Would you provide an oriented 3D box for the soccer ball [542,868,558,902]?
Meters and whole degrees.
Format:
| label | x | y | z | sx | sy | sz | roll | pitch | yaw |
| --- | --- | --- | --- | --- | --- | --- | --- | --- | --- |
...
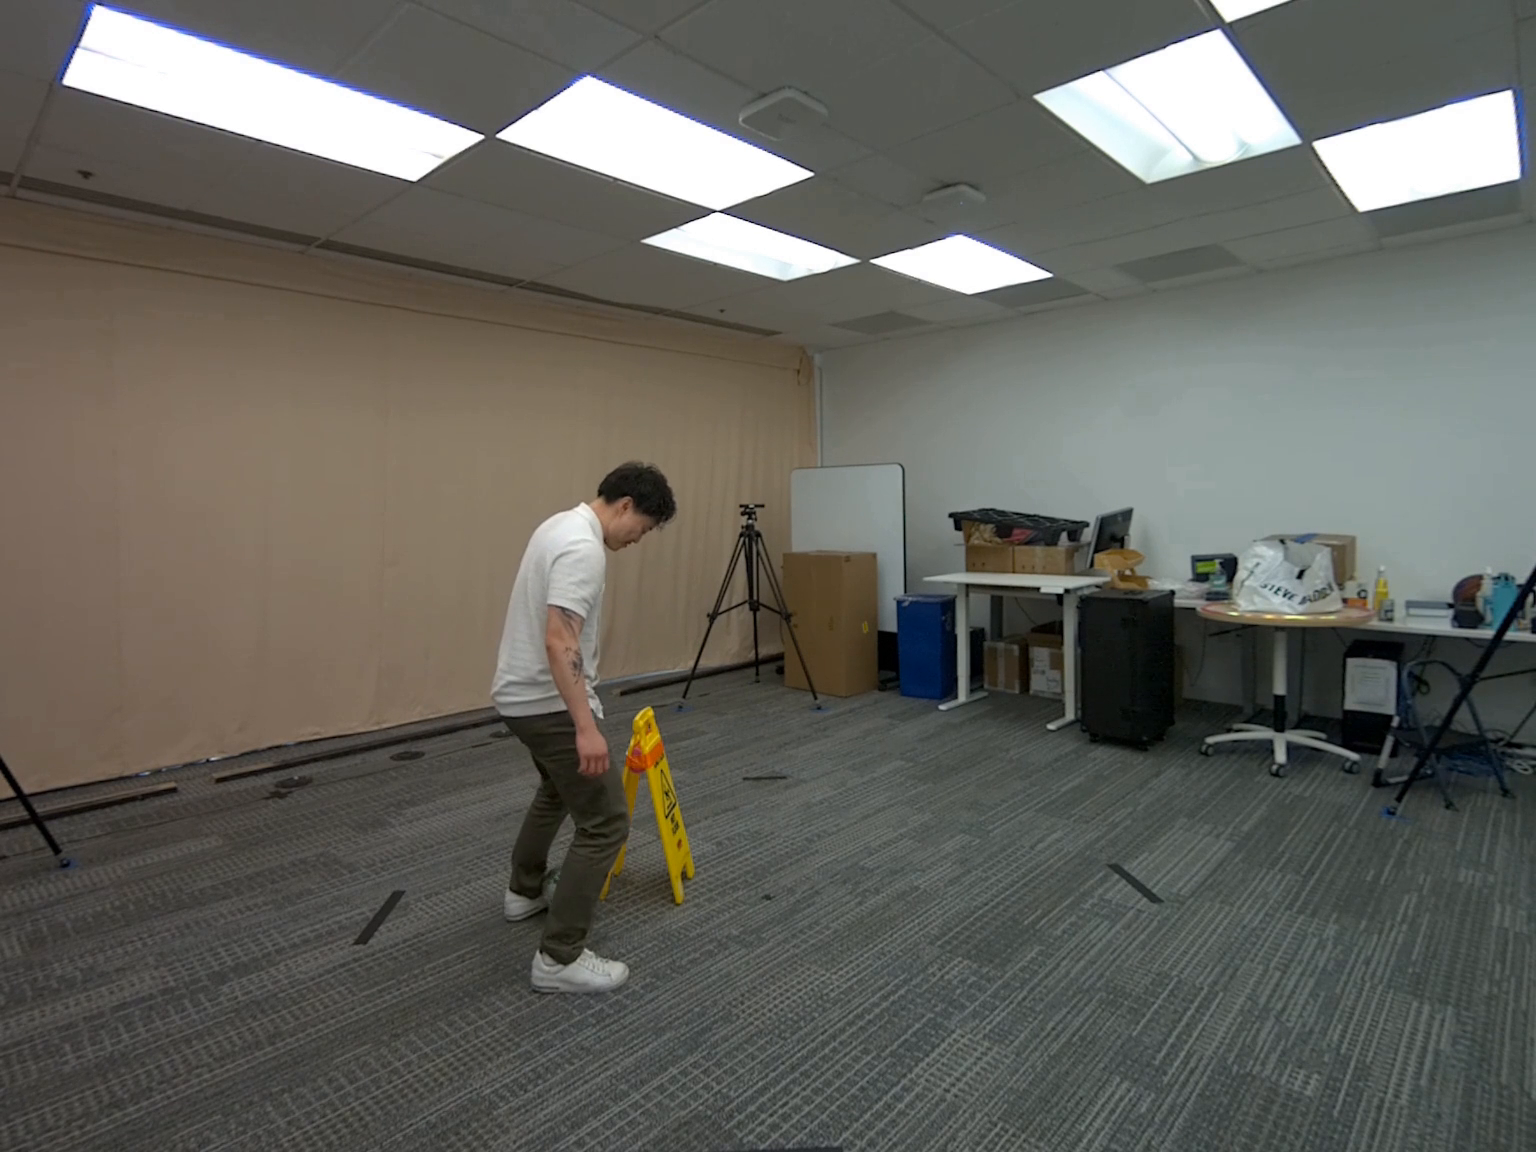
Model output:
| label | x | y | z | sx | sy | sz | roll | pitch | yaw |
| --- | --- | --- | --- | --- | --- | --- | --- | --- | --- |
| soccer ball | -0.672 | 1.073 | 2.852 | 0.187 | 0.187 | 0.188 | -1 | 4 | -2 |
